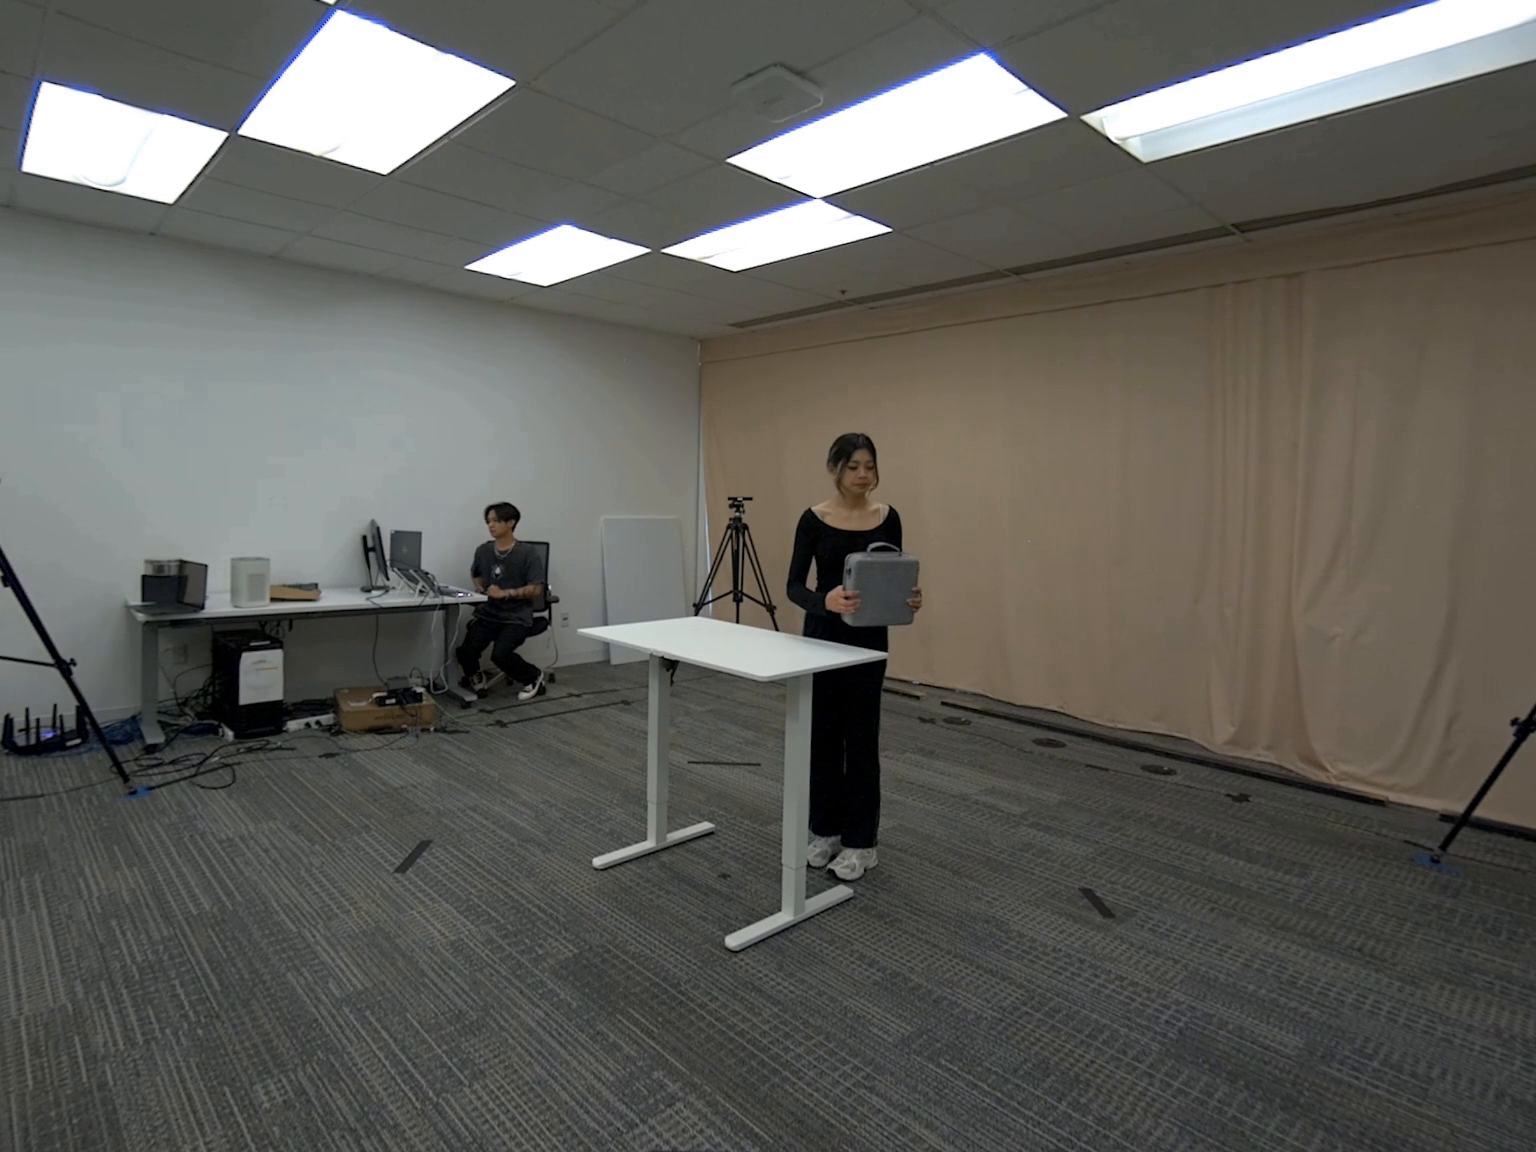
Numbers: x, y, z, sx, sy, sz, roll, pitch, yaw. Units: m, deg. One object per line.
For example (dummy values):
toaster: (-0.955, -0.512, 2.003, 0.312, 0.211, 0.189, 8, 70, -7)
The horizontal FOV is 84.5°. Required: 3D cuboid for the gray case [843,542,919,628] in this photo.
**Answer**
gray case: (0.385, 0.042, 2.946, 0.254, 0.258, 0.106, -1, 14, -12)
